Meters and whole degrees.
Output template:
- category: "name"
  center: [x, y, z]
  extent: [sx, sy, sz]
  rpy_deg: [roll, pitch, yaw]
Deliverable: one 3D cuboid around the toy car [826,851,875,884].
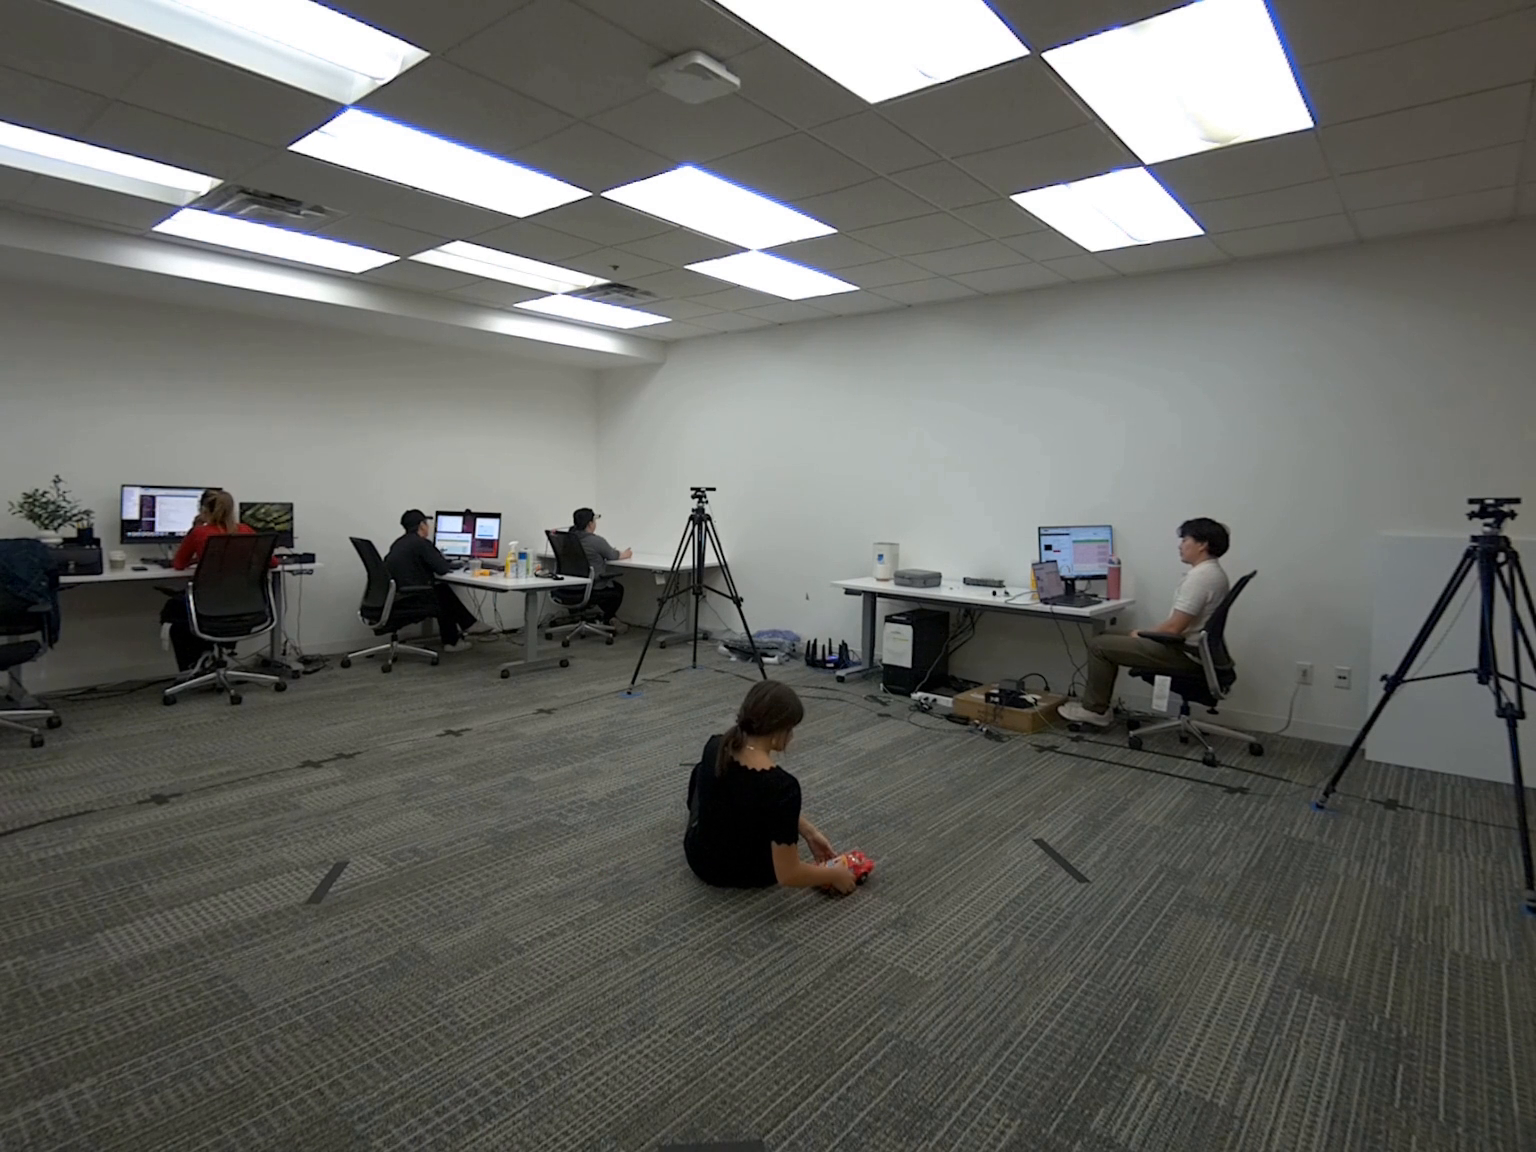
- category: "toy car"
  center: [0.261, 1.044, 3.016]
  extent: [0.249, 0.081, 0.136]
  rpy_deg: [-16, 27, -34]
